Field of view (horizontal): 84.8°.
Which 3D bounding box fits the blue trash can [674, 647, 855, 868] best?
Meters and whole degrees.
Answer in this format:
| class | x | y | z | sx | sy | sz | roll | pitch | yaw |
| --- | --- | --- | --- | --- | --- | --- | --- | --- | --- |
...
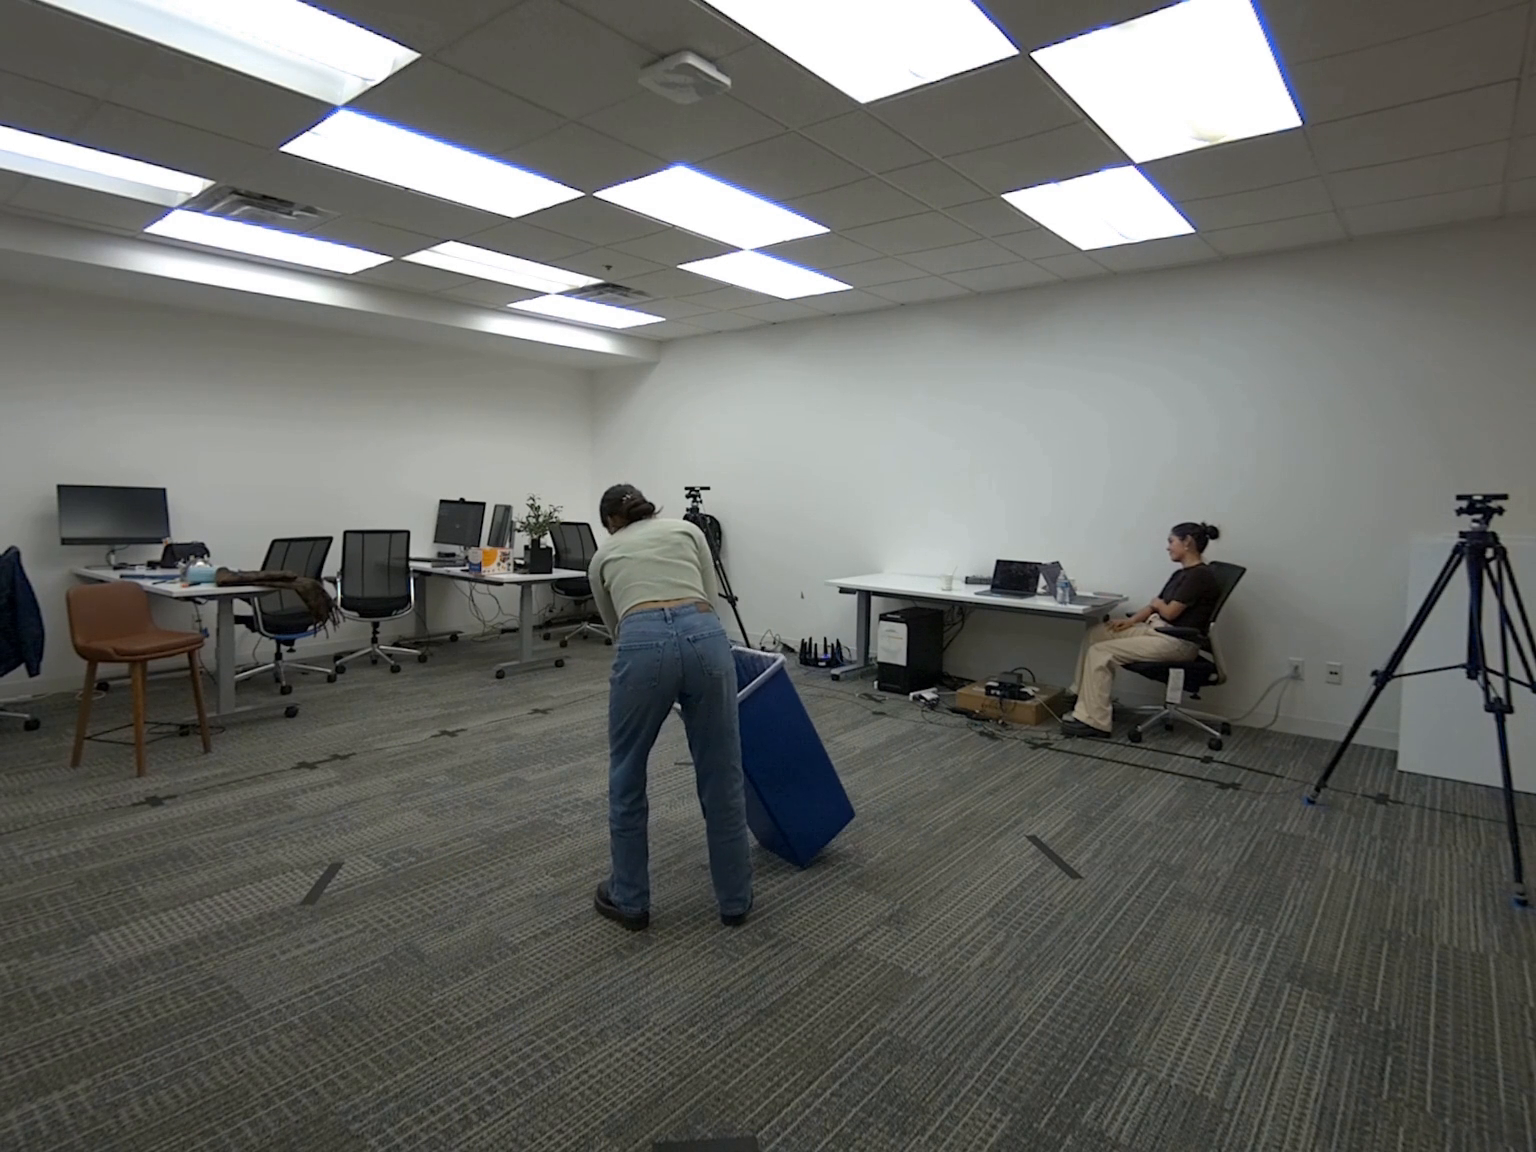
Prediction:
| class | x | y | z | sx | sy | sz | roll | pitch | yaw |
| --- | --- | --- | --- | --- | --- | --- | --- | --- | --- |
| blue trash can | -0.026 | 0.674 | 3.176 | 0.371 | 0.700 | 0.388 | -35 | 17 | -27 |
